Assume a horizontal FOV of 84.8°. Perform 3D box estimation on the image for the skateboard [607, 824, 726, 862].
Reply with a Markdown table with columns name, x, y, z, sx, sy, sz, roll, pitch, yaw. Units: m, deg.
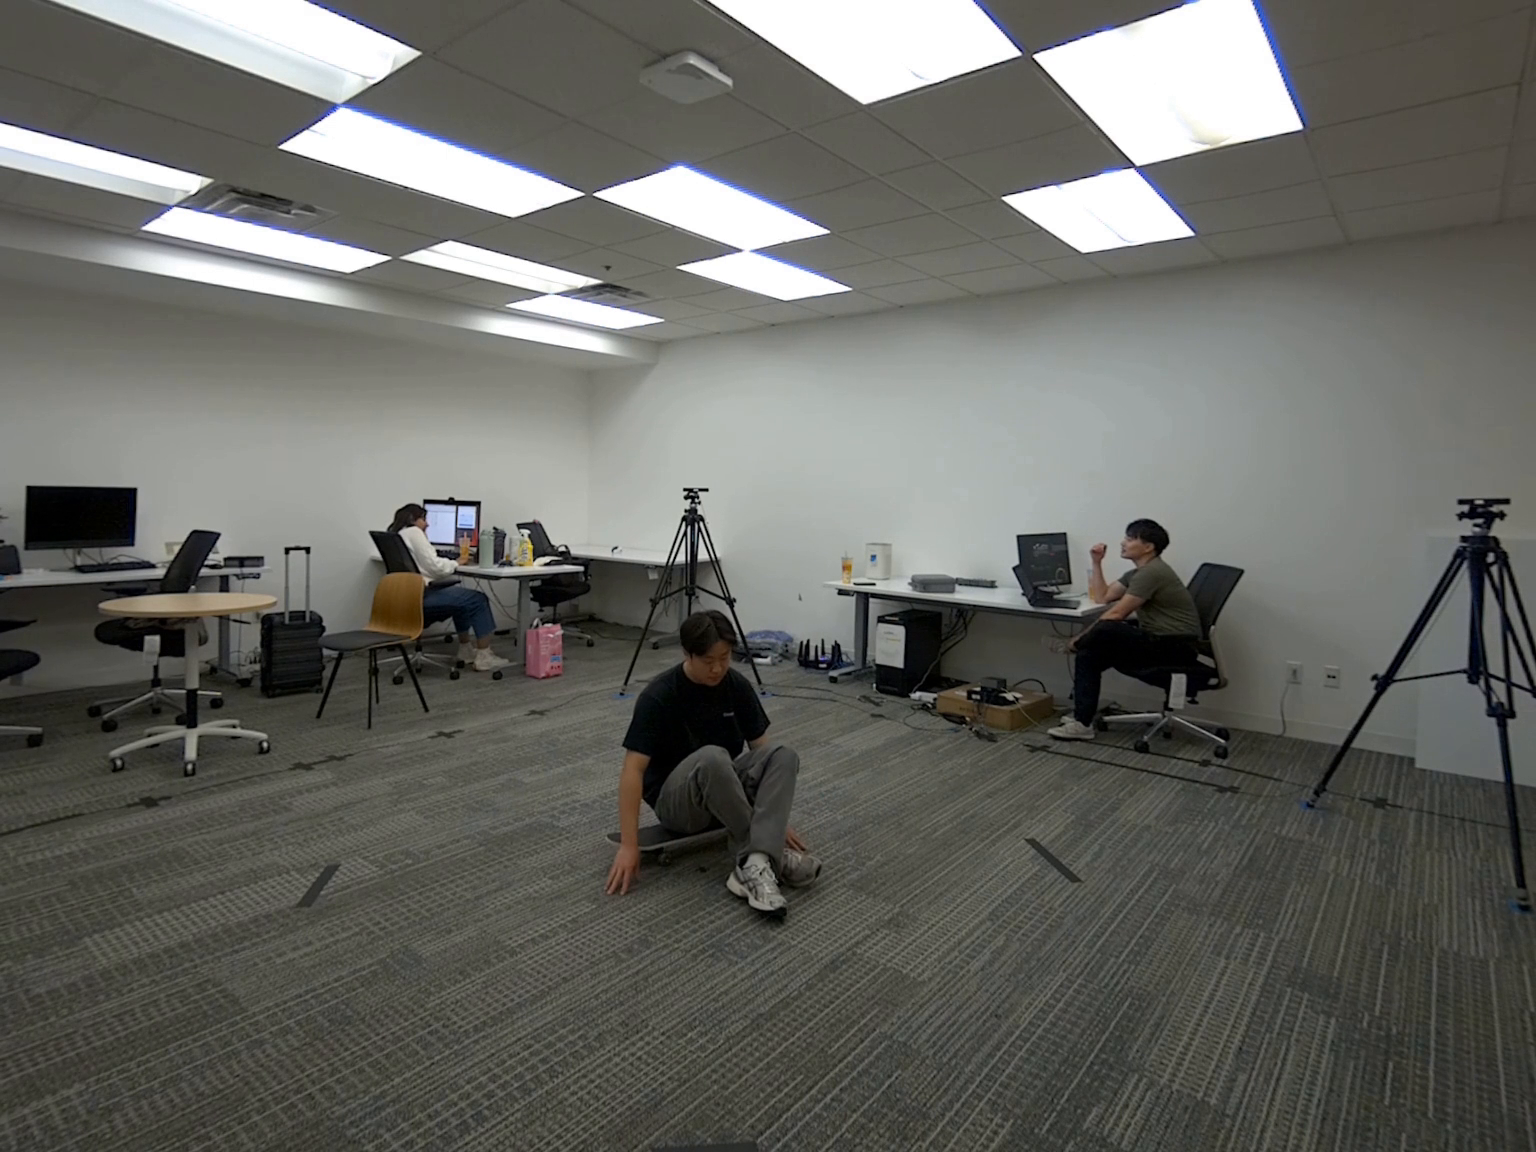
| name | x | y | z | sx | sy | sz | roll | pitch | yaw |
| --- | --- | --- | --- | --- | --- | --- | --- | --- | --- |
| skateboard | -0.268 | 1.000 | 3.313 | 0.763 | 0.110 | 0.199 | -3 | 2 | -34 |
